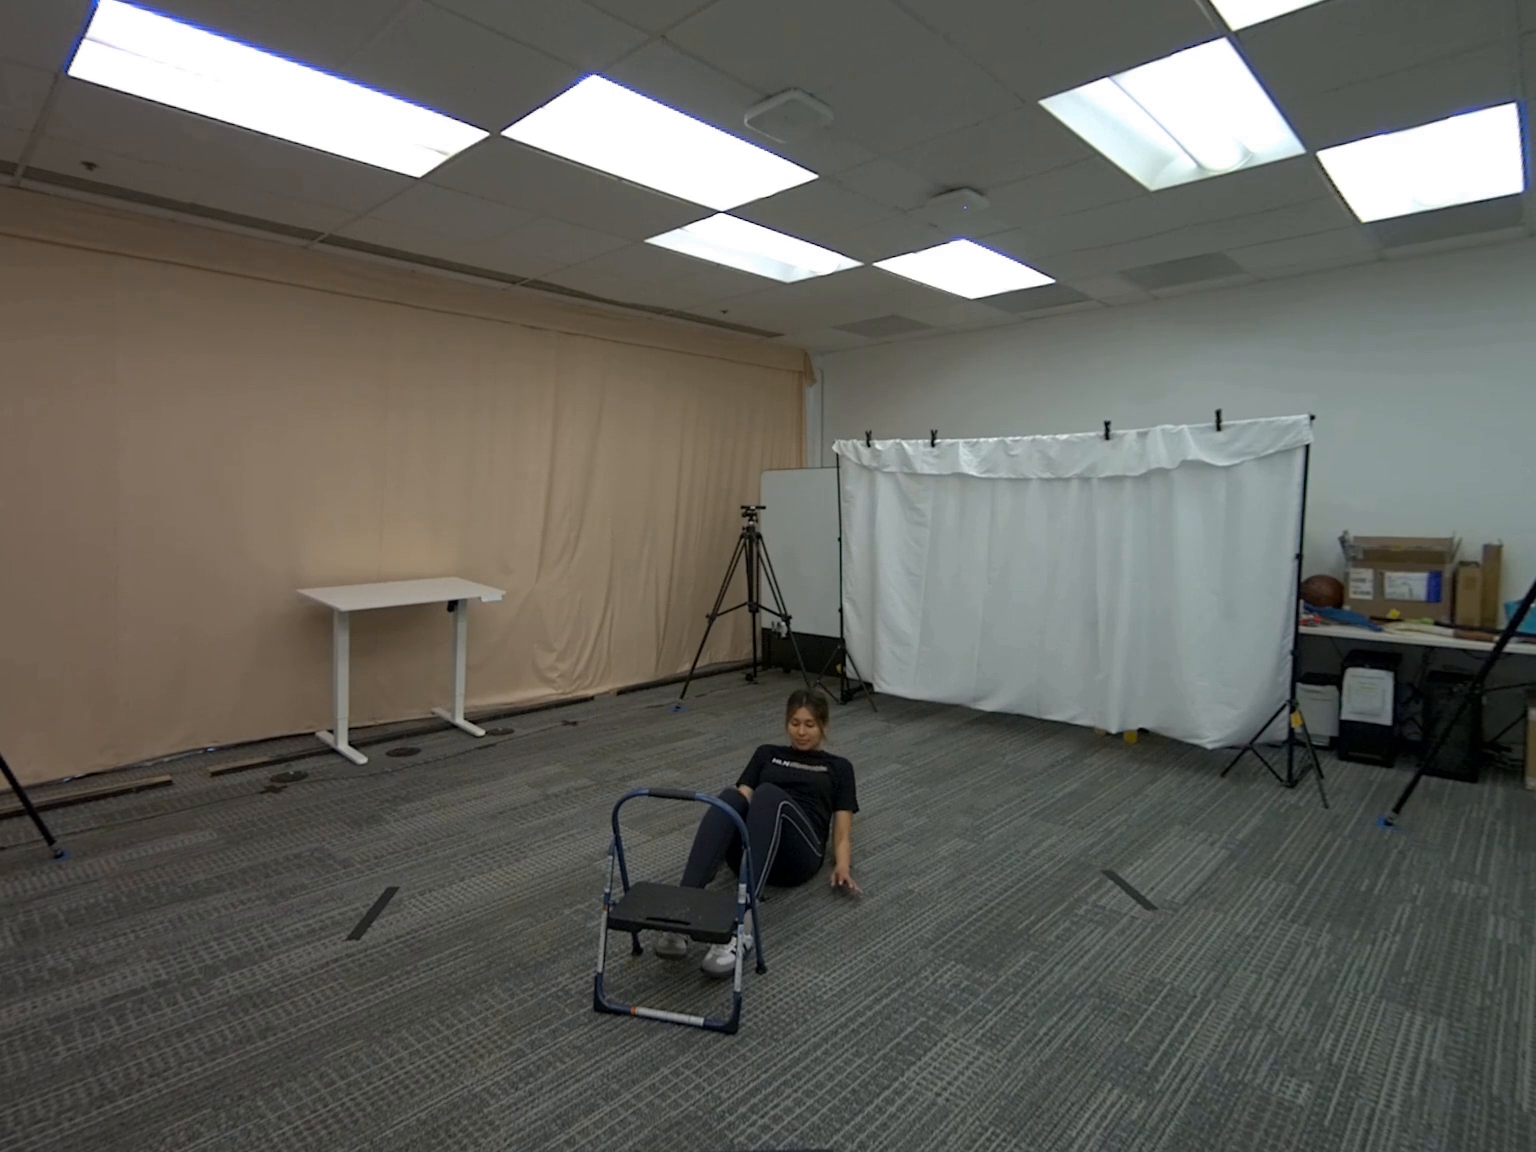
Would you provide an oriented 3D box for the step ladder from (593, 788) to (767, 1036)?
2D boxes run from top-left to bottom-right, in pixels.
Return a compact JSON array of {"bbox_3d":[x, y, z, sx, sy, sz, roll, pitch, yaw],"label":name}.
[{"bbox_3d":[-0.251,0.888,2.411,0.437,0.605,0.344,1,3,14],"label":"step ladder"}]
